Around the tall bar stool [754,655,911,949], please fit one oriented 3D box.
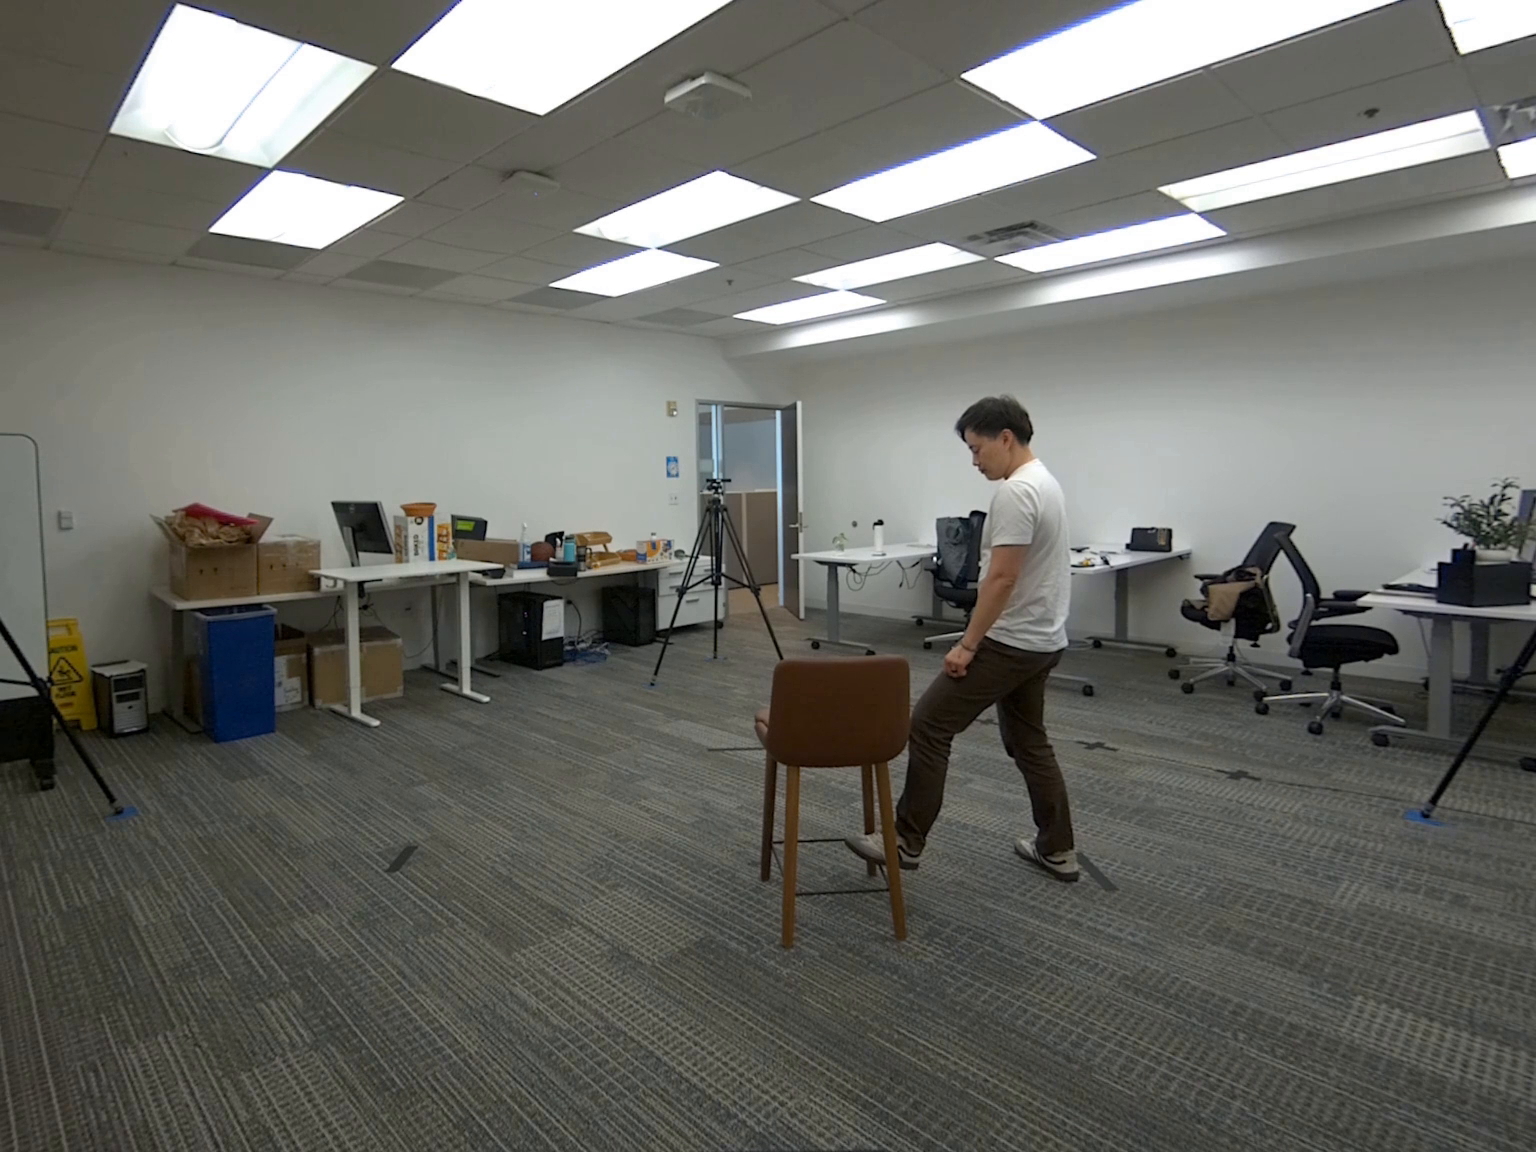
[{"bbox_3d":[0.198,0.647,2.743,0.454,0.885,0.472,-1,6,-5],"label":"tall bar stool"}]
